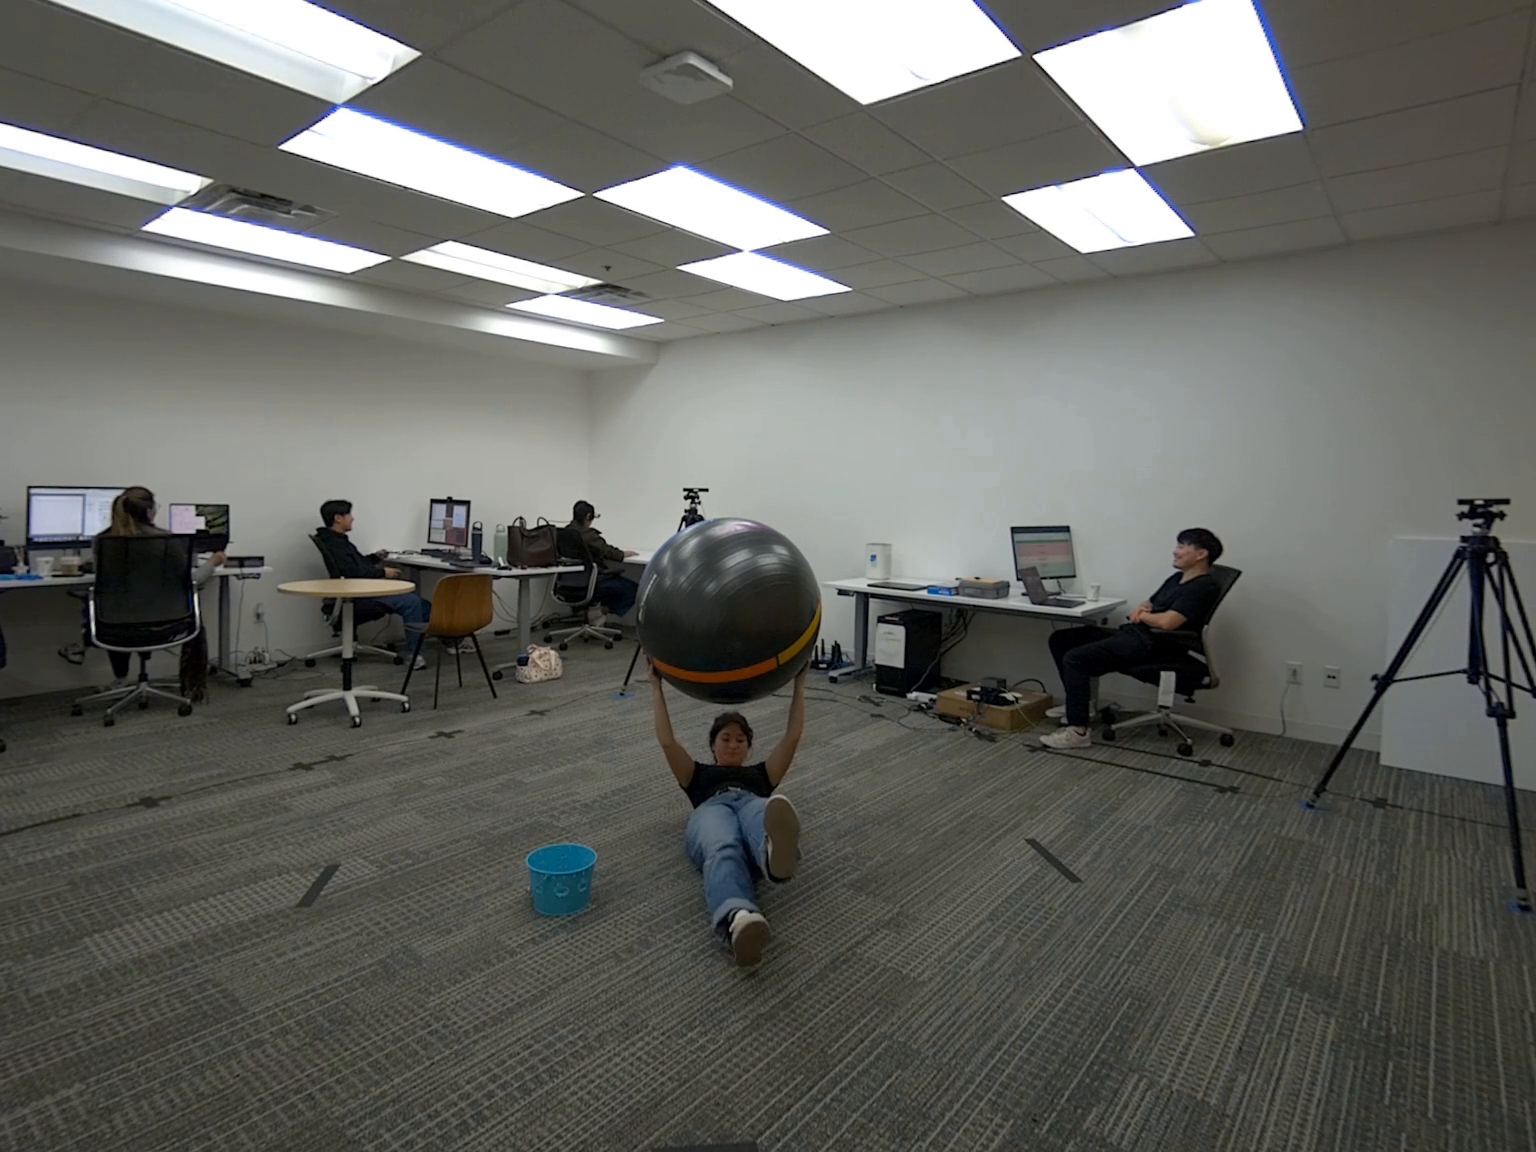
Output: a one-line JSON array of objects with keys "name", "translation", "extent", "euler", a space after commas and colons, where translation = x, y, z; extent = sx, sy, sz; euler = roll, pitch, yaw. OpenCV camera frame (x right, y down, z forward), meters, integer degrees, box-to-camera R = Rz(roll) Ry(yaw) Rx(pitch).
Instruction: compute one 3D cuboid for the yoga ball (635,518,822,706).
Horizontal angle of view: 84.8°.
[{"name": "yoga ball", "translation": [-0.174, 0.139, 3.474], "extent": [0.757, 0.755, 0.762], "euler": [1, 4, -2]}]
